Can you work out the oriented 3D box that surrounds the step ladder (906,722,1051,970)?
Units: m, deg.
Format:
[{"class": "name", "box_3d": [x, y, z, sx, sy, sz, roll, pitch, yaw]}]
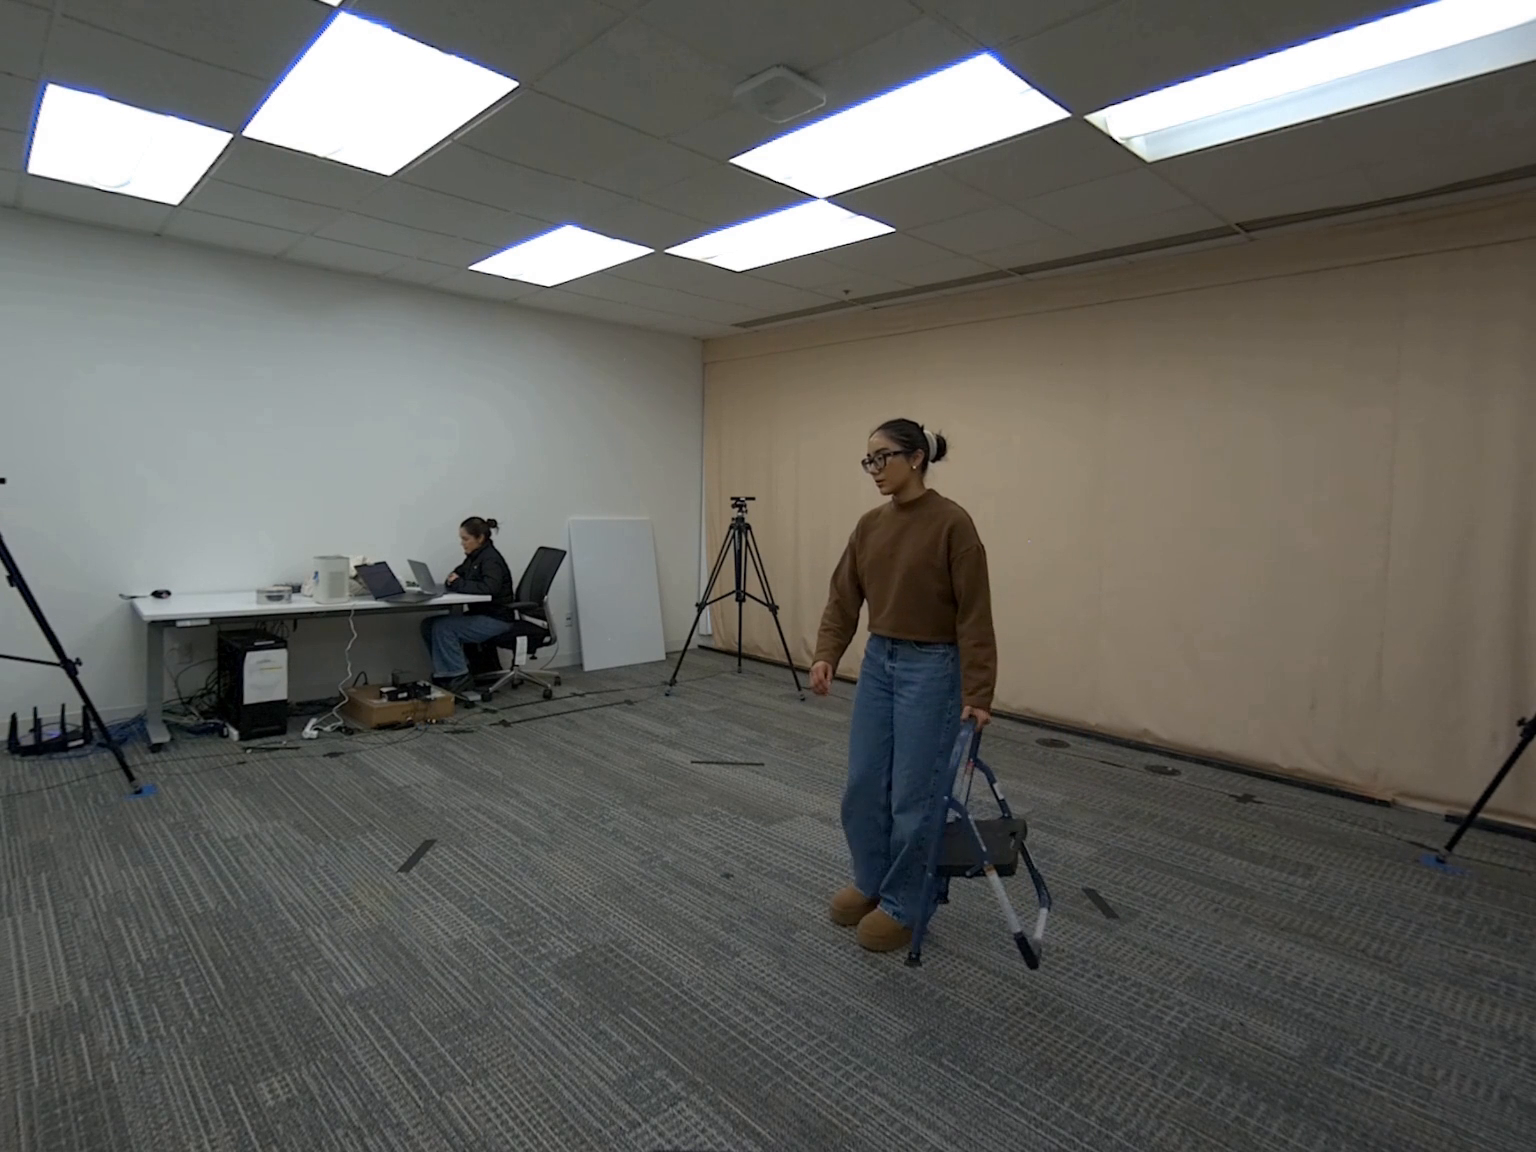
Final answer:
[{"class": "step ladder", "box_3d": [0.558, 0.718, 2.380, 0.354, 0.607, 0.424, -11, -1, 23]}]
